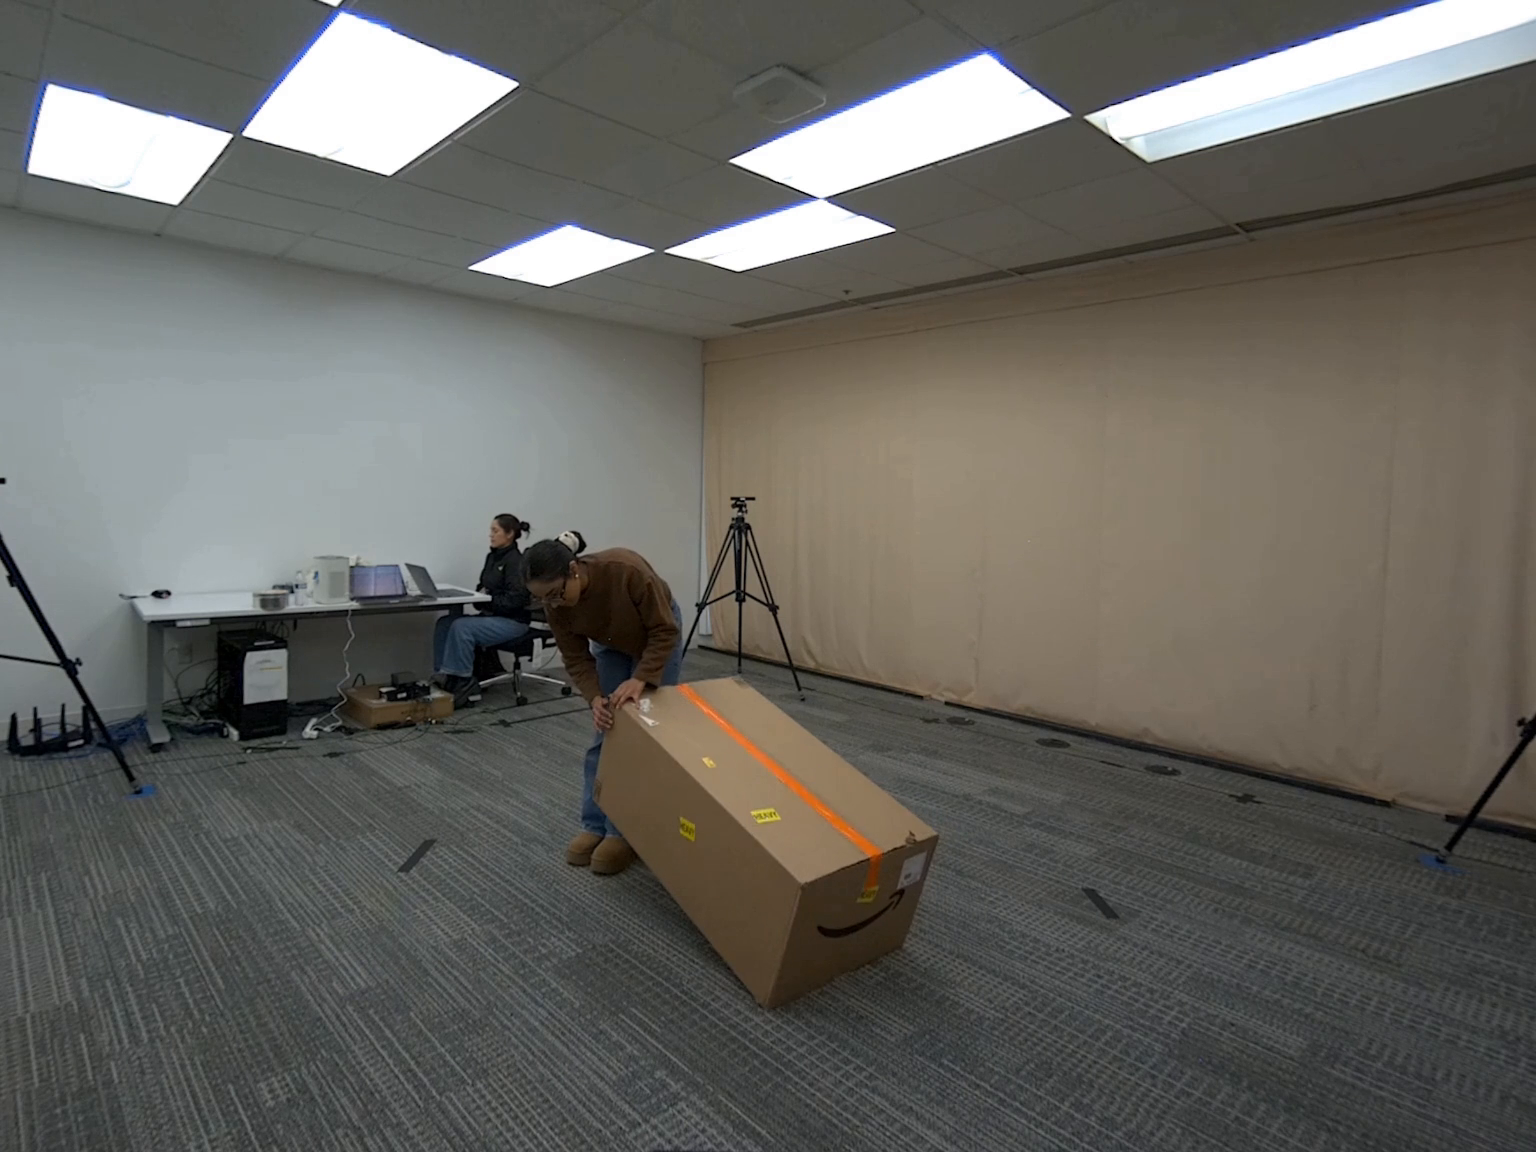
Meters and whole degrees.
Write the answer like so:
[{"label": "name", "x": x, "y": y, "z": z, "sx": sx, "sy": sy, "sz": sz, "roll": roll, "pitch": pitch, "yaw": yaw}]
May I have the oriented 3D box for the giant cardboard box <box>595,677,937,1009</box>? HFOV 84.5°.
[{"label": "giant cardboard box", "x": -0.057, "y": 0.788, "z": 2.767, "sx": 0.570, "sy": 0.443, "sz": 1.060, "roll": 1, "pitch": 20, "yaw": -41}]
